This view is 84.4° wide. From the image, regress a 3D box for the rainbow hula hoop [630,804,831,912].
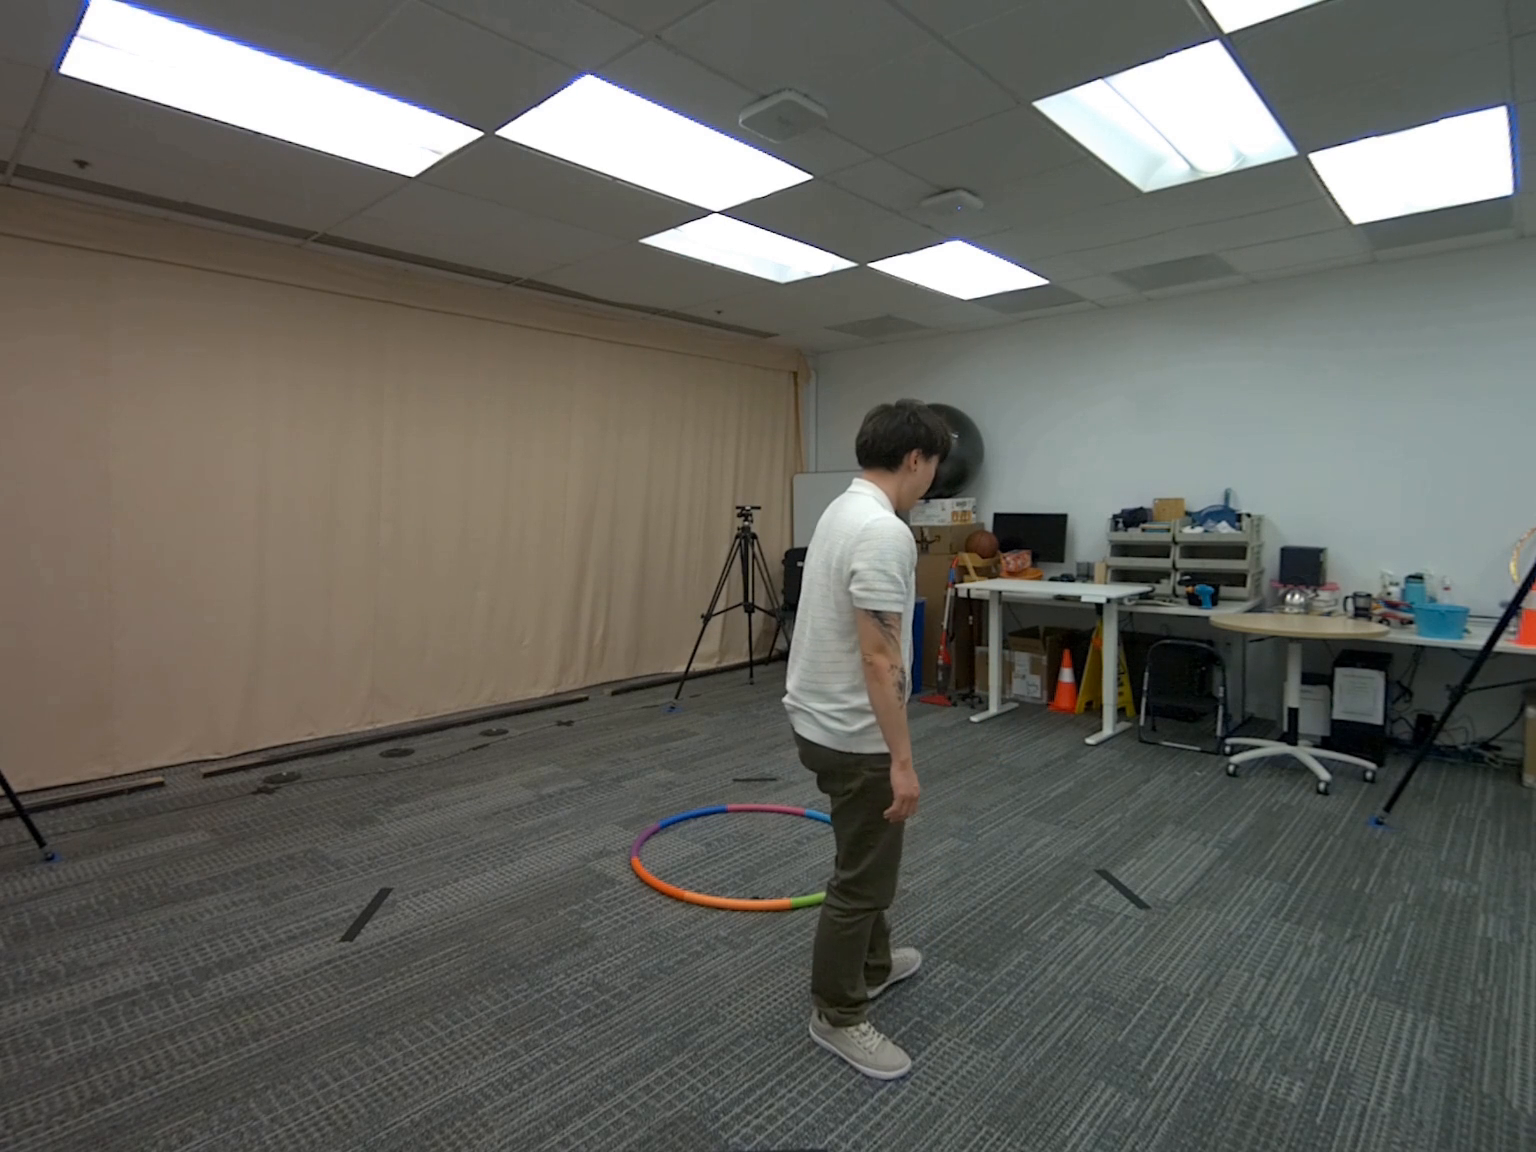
[{"bbox_3d":[-0.055,1.083,3.370,0.978,0.035,0.982,-1,5,-2],"label":"rainbow hula hoop"}]
